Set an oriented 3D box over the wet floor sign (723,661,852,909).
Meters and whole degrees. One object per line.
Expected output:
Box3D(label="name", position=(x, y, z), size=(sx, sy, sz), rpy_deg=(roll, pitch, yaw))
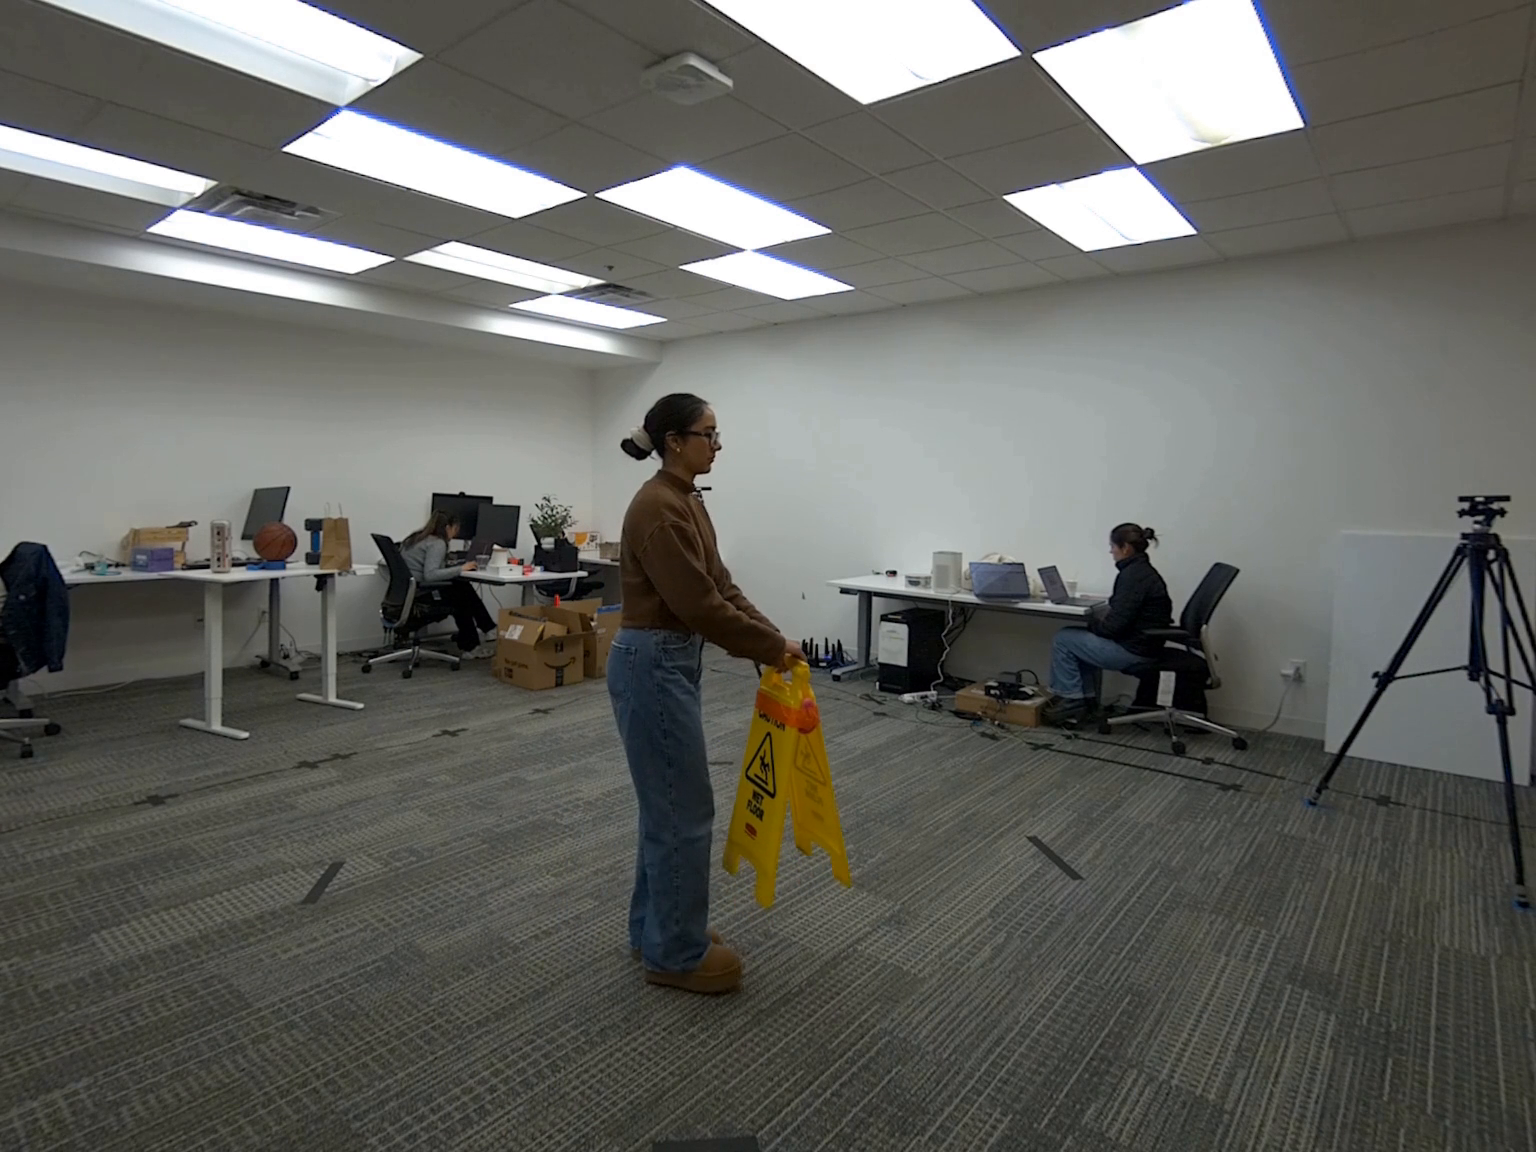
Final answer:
Box3D(label="wet floor sign", position=(0.046, 0.548, 2.407), size=(0.282, 0.642, 0.291), rpy_deg=(-2, 7, -29))
